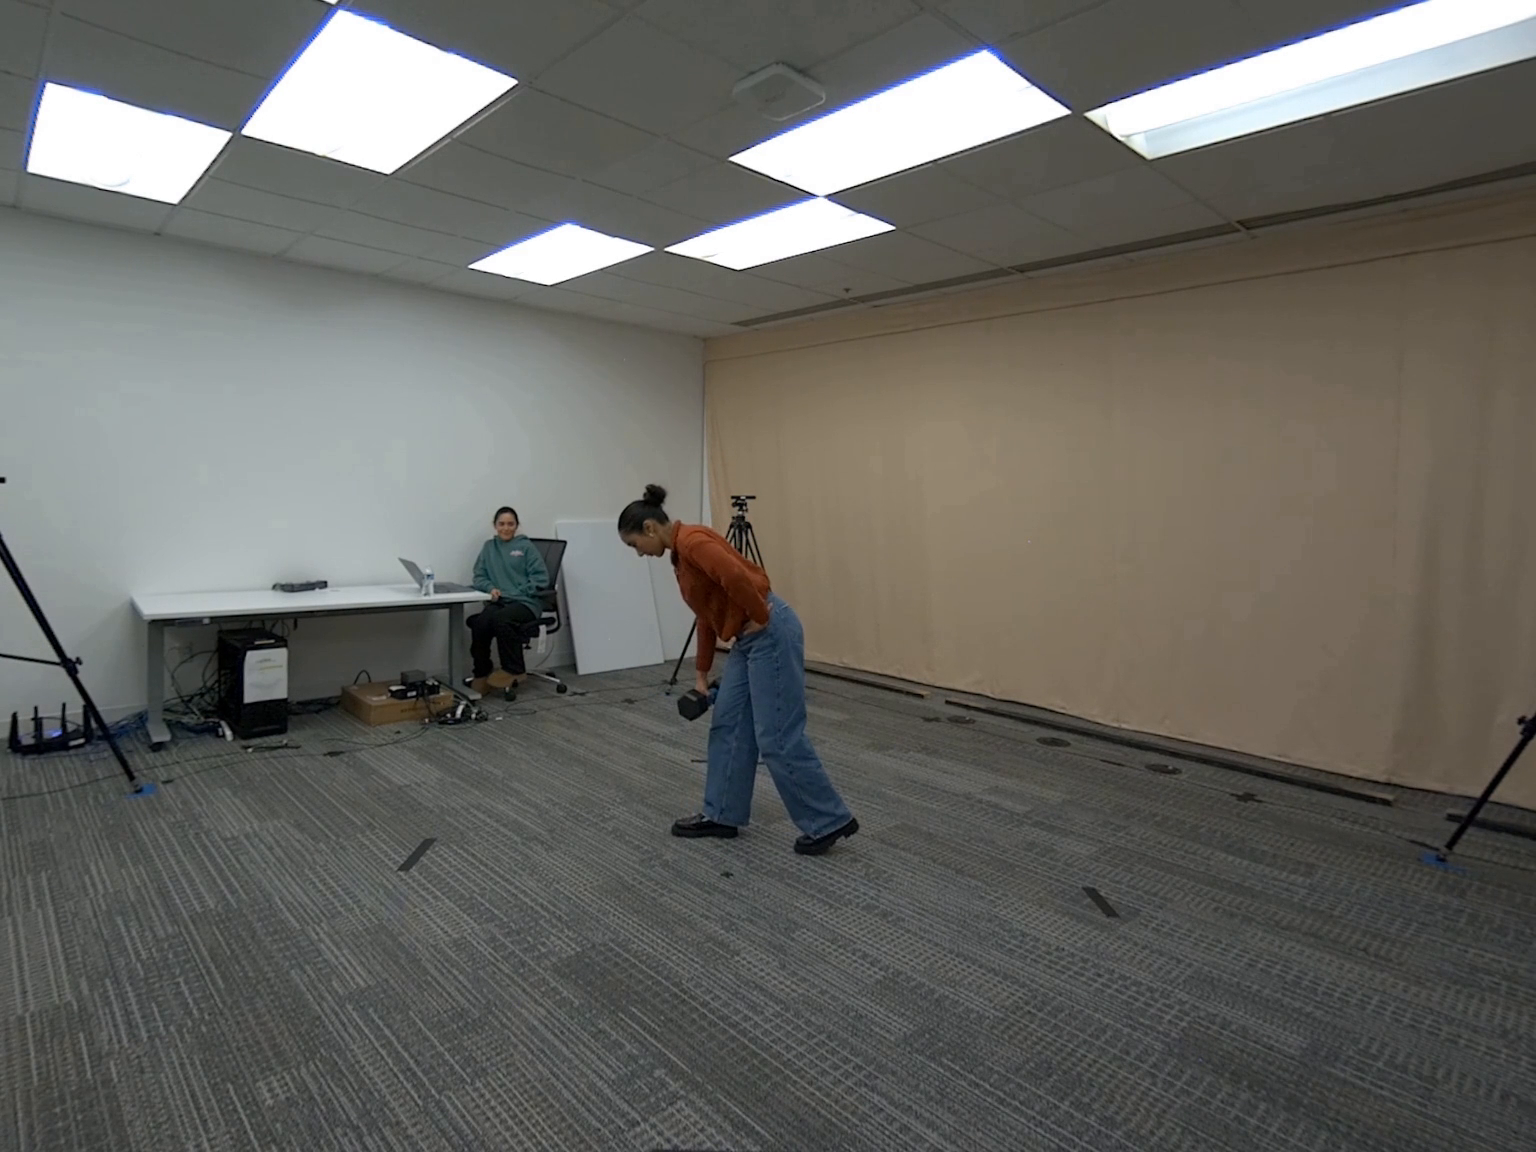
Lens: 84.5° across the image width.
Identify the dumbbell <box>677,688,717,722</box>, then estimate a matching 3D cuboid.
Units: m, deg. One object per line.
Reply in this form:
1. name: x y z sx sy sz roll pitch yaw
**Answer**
1. dumbbell: -0.264 0.516 3.540 0.110 0.123 0.289 -9 3 31
